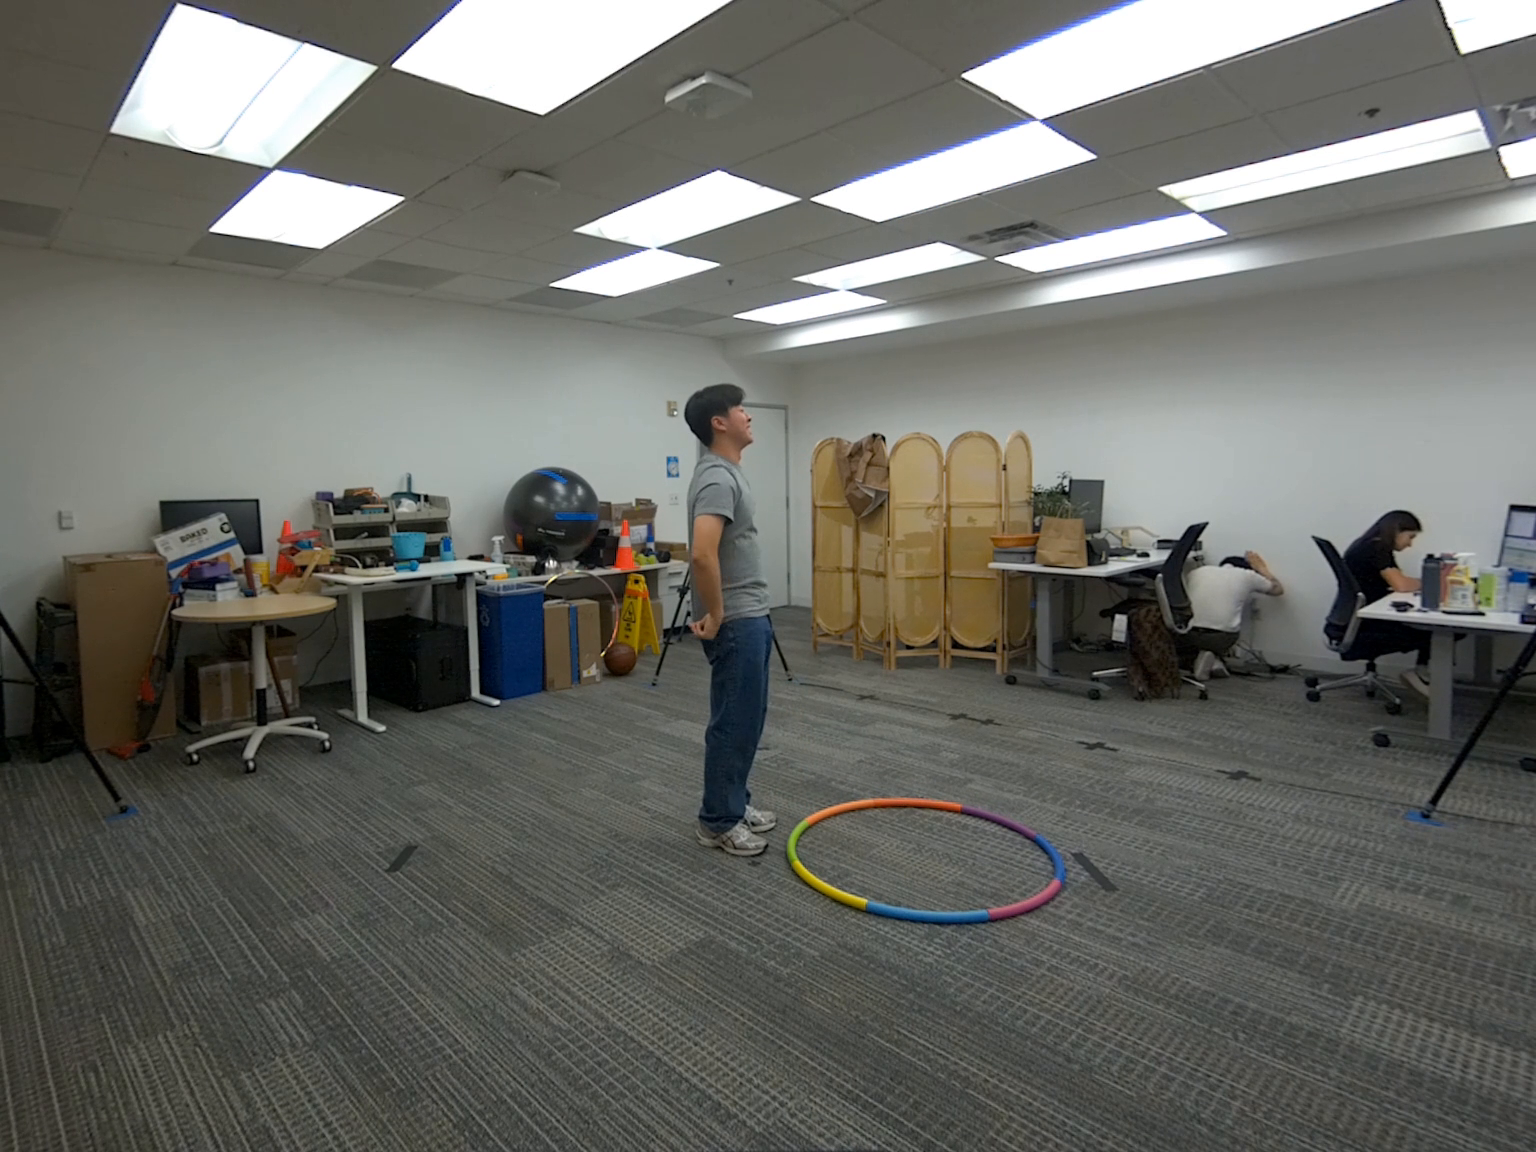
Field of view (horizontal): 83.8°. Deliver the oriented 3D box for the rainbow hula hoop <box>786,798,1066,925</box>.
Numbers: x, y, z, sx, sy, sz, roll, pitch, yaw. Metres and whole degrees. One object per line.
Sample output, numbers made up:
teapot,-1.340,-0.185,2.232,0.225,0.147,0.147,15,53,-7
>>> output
rainbow hula hoop,0.553,1.000,3.142,0.978,0.035,0.984,-1,7,-2
